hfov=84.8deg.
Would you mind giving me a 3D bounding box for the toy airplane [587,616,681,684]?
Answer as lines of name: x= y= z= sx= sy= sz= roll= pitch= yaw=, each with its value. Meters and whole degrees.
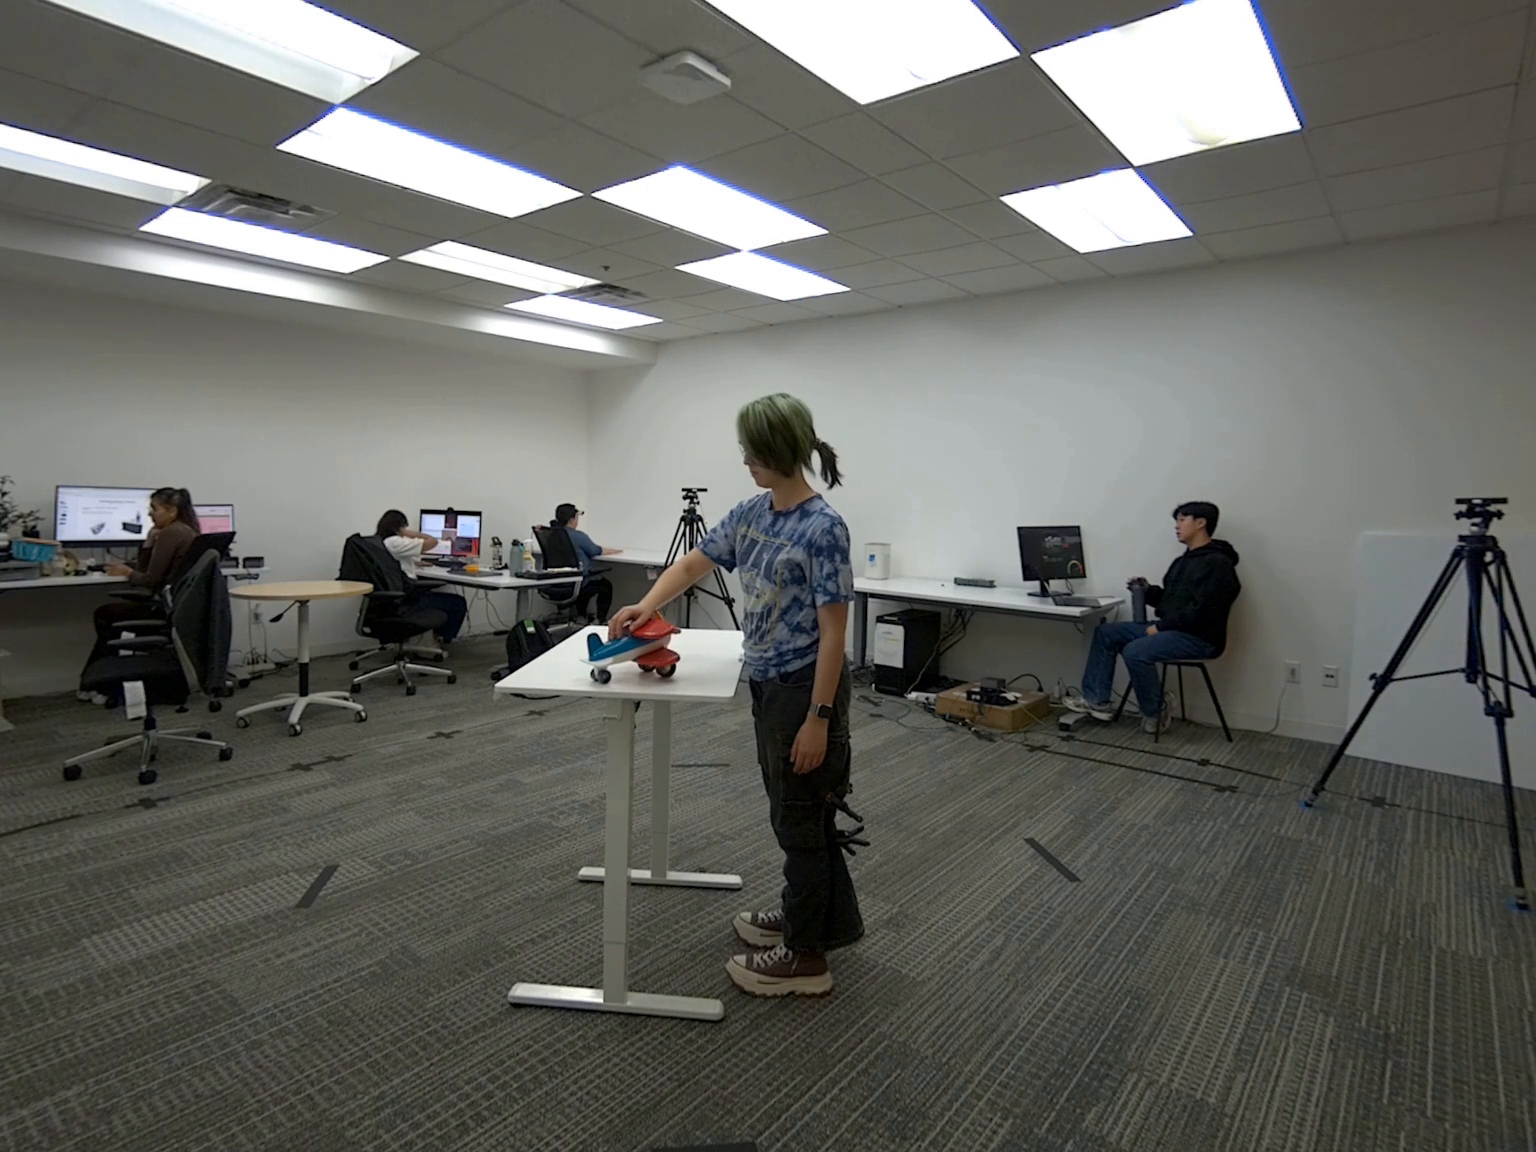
toy airplane: x=-0.357 y=0.194 z=2.246 sx=0.257 sy=0.156 sz=0.254 roll=3 pitch=4 yaw=22
